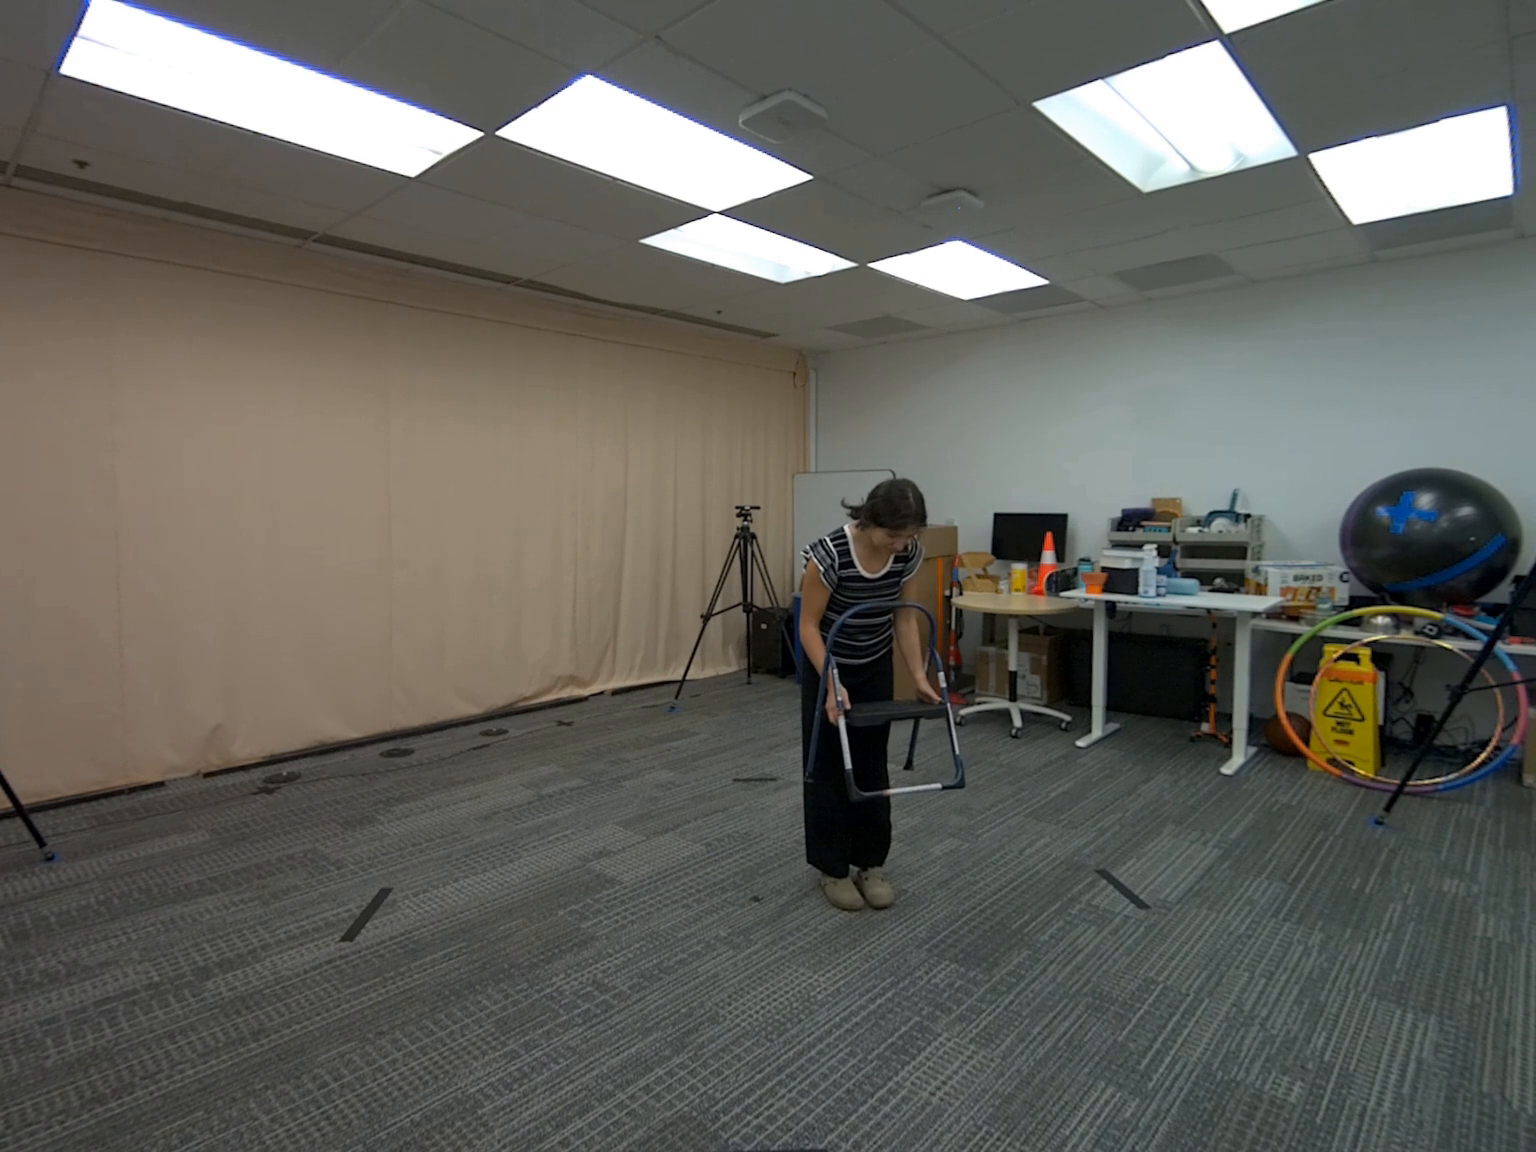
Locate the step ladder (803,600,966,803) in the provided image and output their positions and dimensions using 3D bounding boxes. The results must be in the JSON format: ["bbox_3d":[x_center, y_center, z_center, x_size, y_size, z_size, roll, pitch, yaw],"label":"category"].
[{"bbox_3d":[0.371,0.393,2.810,0.421,0.607,0.356,-1,-3,-23],"label":"step ladder"}]
